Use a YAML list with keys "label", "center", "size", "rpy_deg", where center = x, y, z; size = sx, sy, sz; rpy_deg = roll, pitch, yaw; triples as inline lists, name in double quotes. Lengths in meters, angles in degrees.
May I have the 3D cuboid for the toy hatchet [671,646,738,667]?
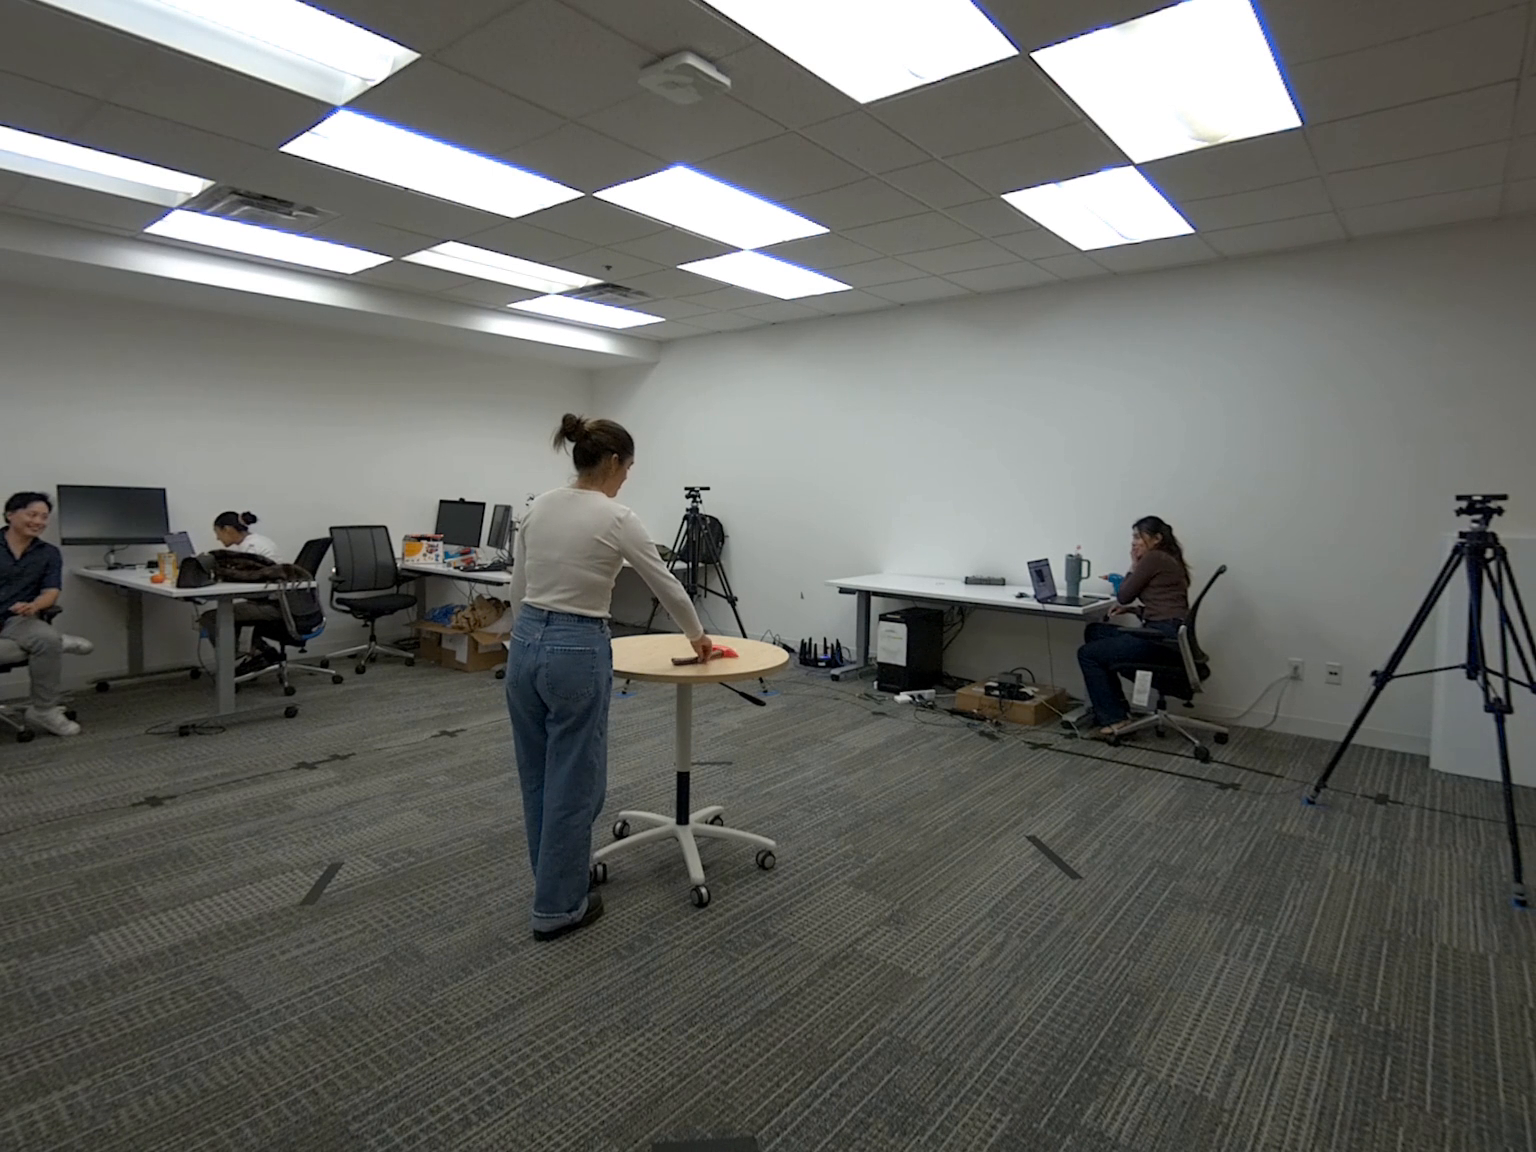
- label: "toy hatchet"
  center: [-0.249, 0.278, 3.016]
  size: [0.262, 0.029, 0.136]
  rpy_deg: [-4, 18, -34]
